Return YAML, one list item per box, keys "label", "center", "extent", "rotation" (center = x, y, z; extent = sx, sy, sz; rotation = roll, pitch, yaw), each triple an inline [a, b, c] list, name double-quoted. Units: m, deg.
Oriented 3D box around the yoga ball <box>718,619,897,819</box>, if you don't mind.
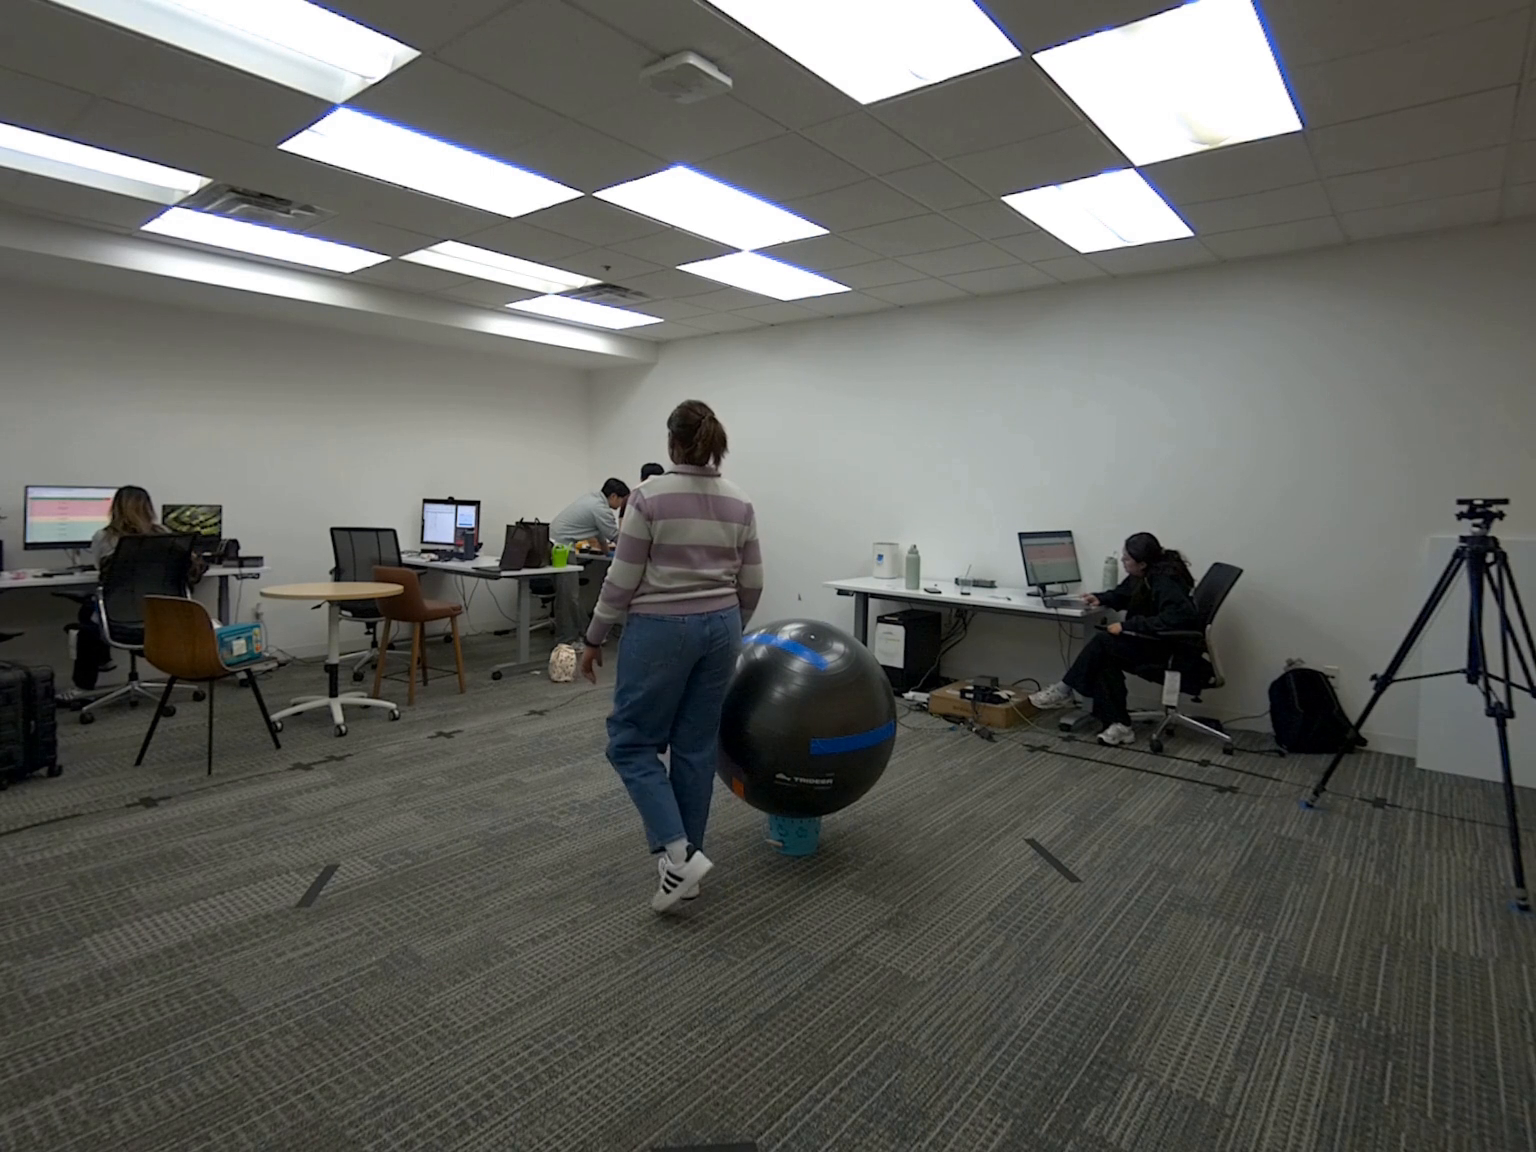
- label: "yoga ball"
  center: [0.123, 0.552, 3.308]
  extent: [0.757, 0.755, 0.762]
  rotation: [1, 4, -2]
